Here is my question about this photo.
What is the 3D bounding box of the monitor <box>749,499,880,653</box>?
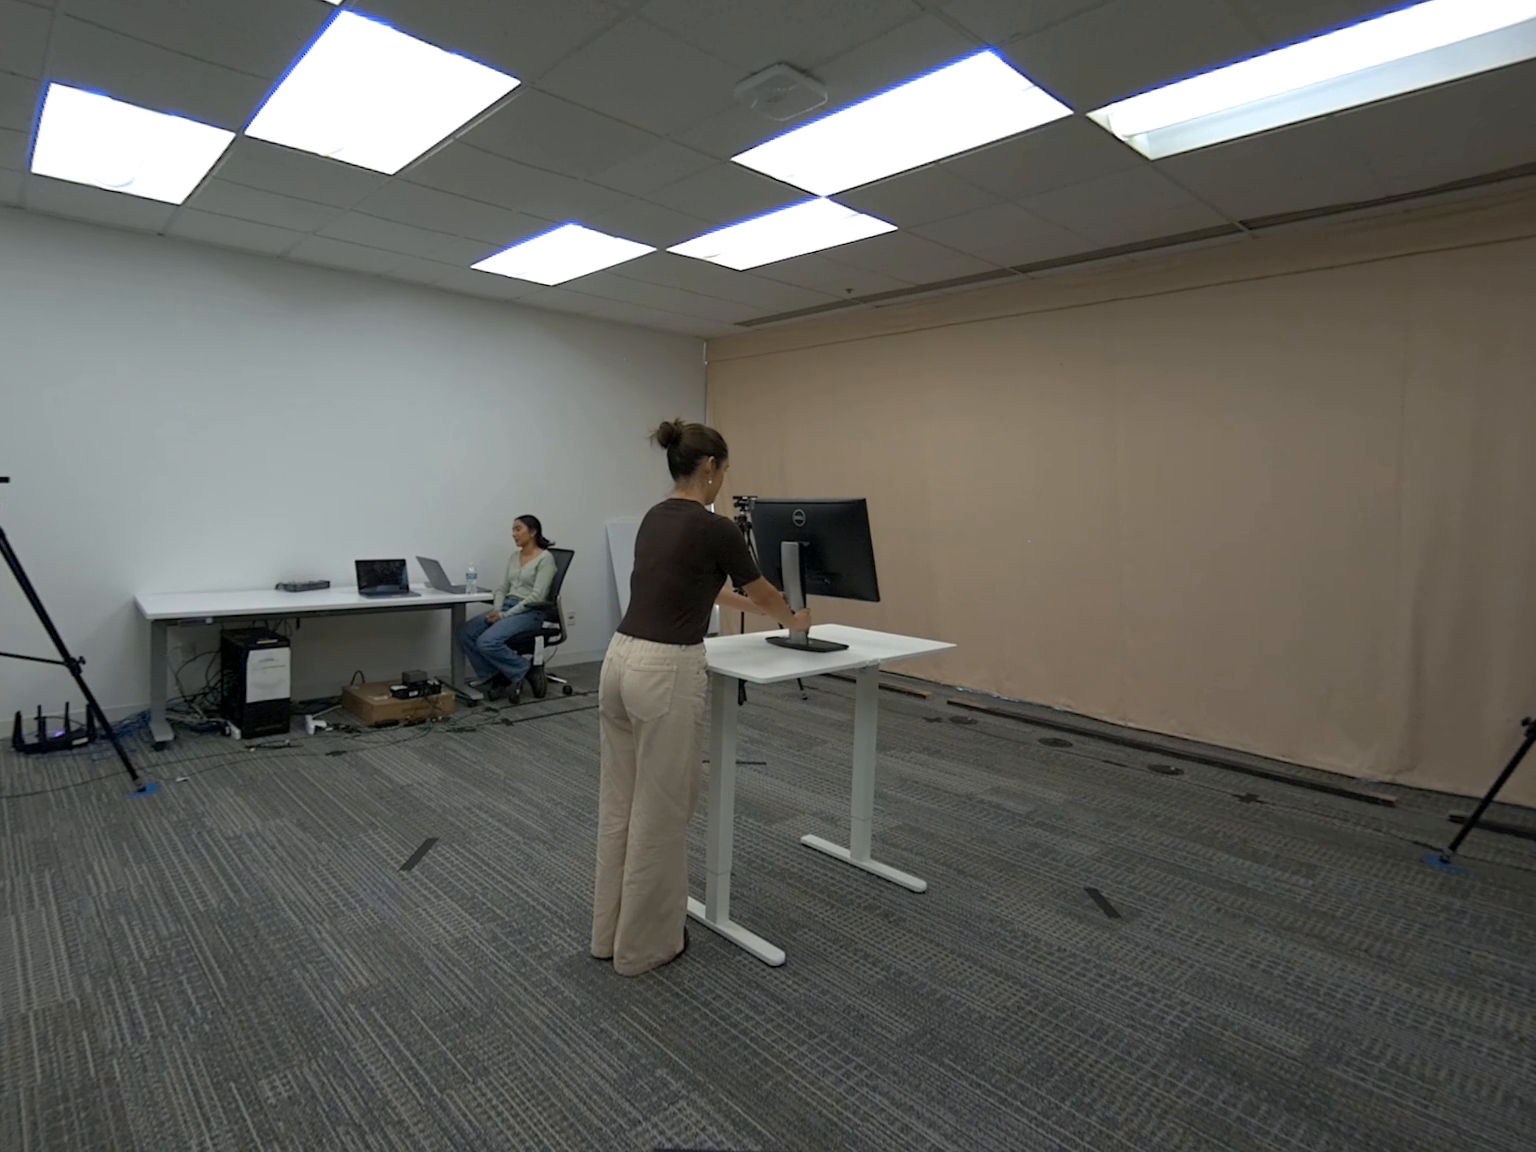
[{"bbox_3d":[0.119,-0.011,2.916,0.170,0.516,0.543,3,1,-45],"label":"monitor"}]
